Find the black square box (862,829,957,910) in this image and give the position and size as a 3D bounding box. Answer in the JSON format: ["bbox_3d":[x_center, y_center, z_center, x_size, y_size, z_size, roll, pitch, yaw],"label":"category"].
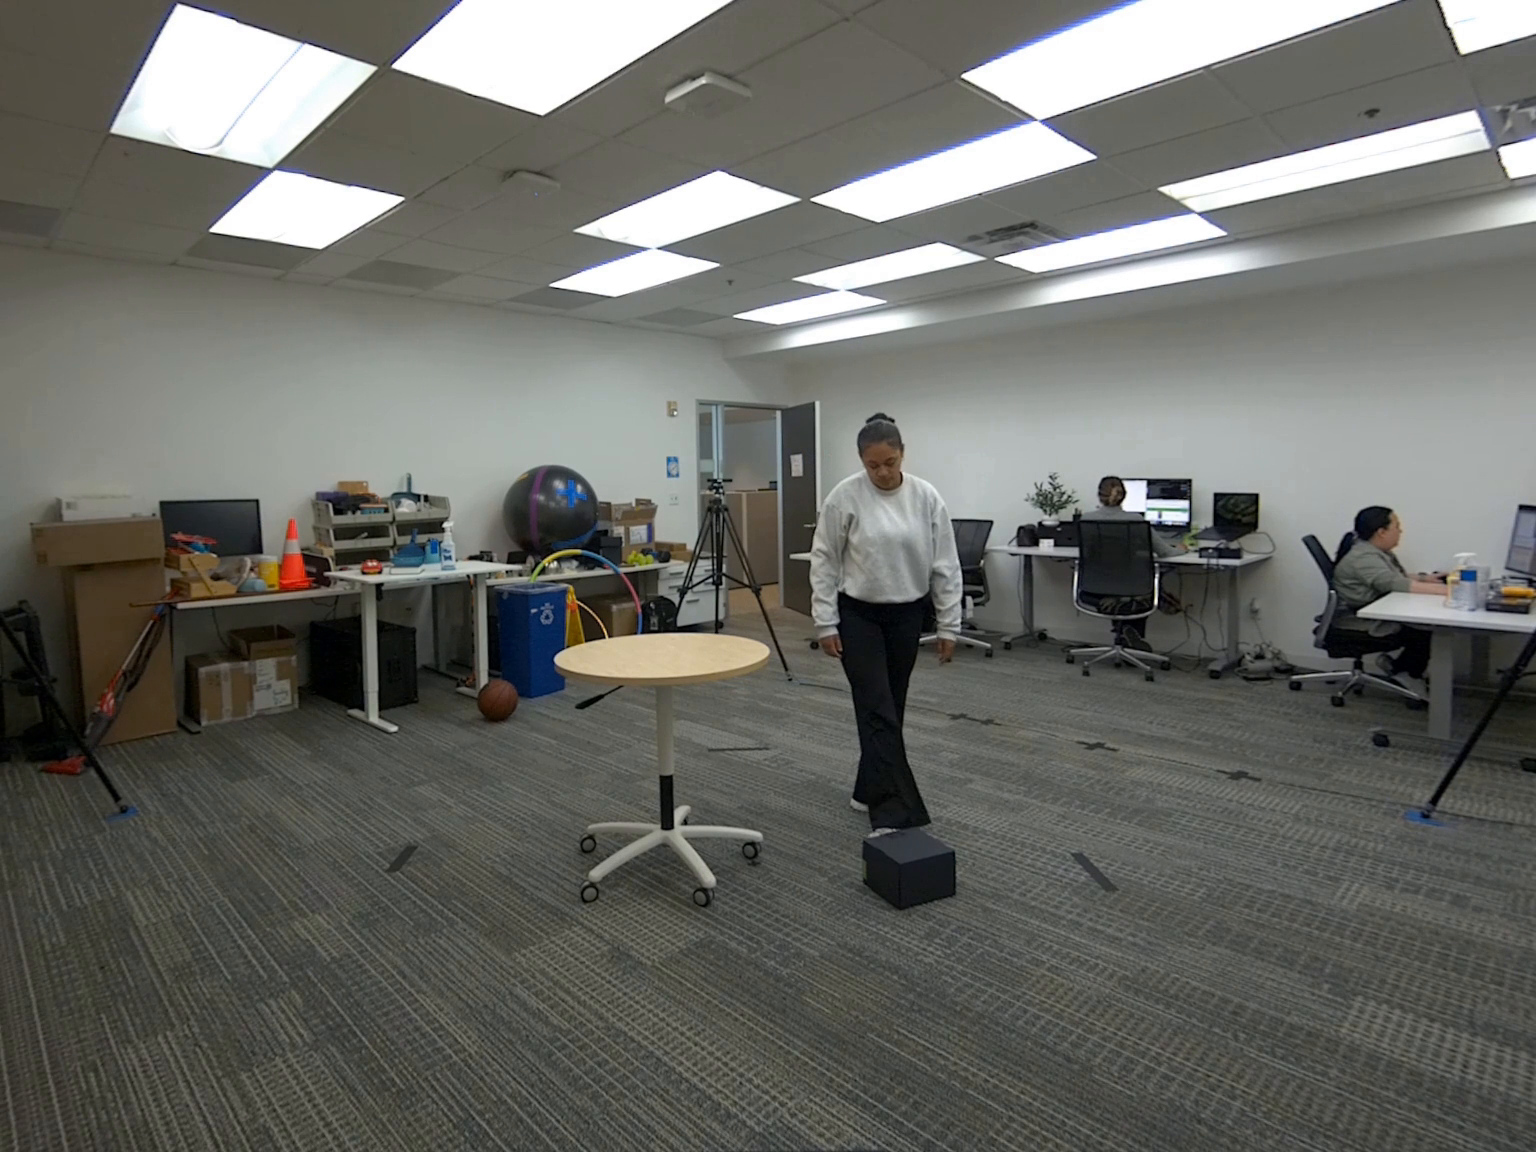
[{"bbox_3d":[0.474,0.980,2.885,0.223,0.155,0.222,-4,6,-26],"label":"black square box"}]
